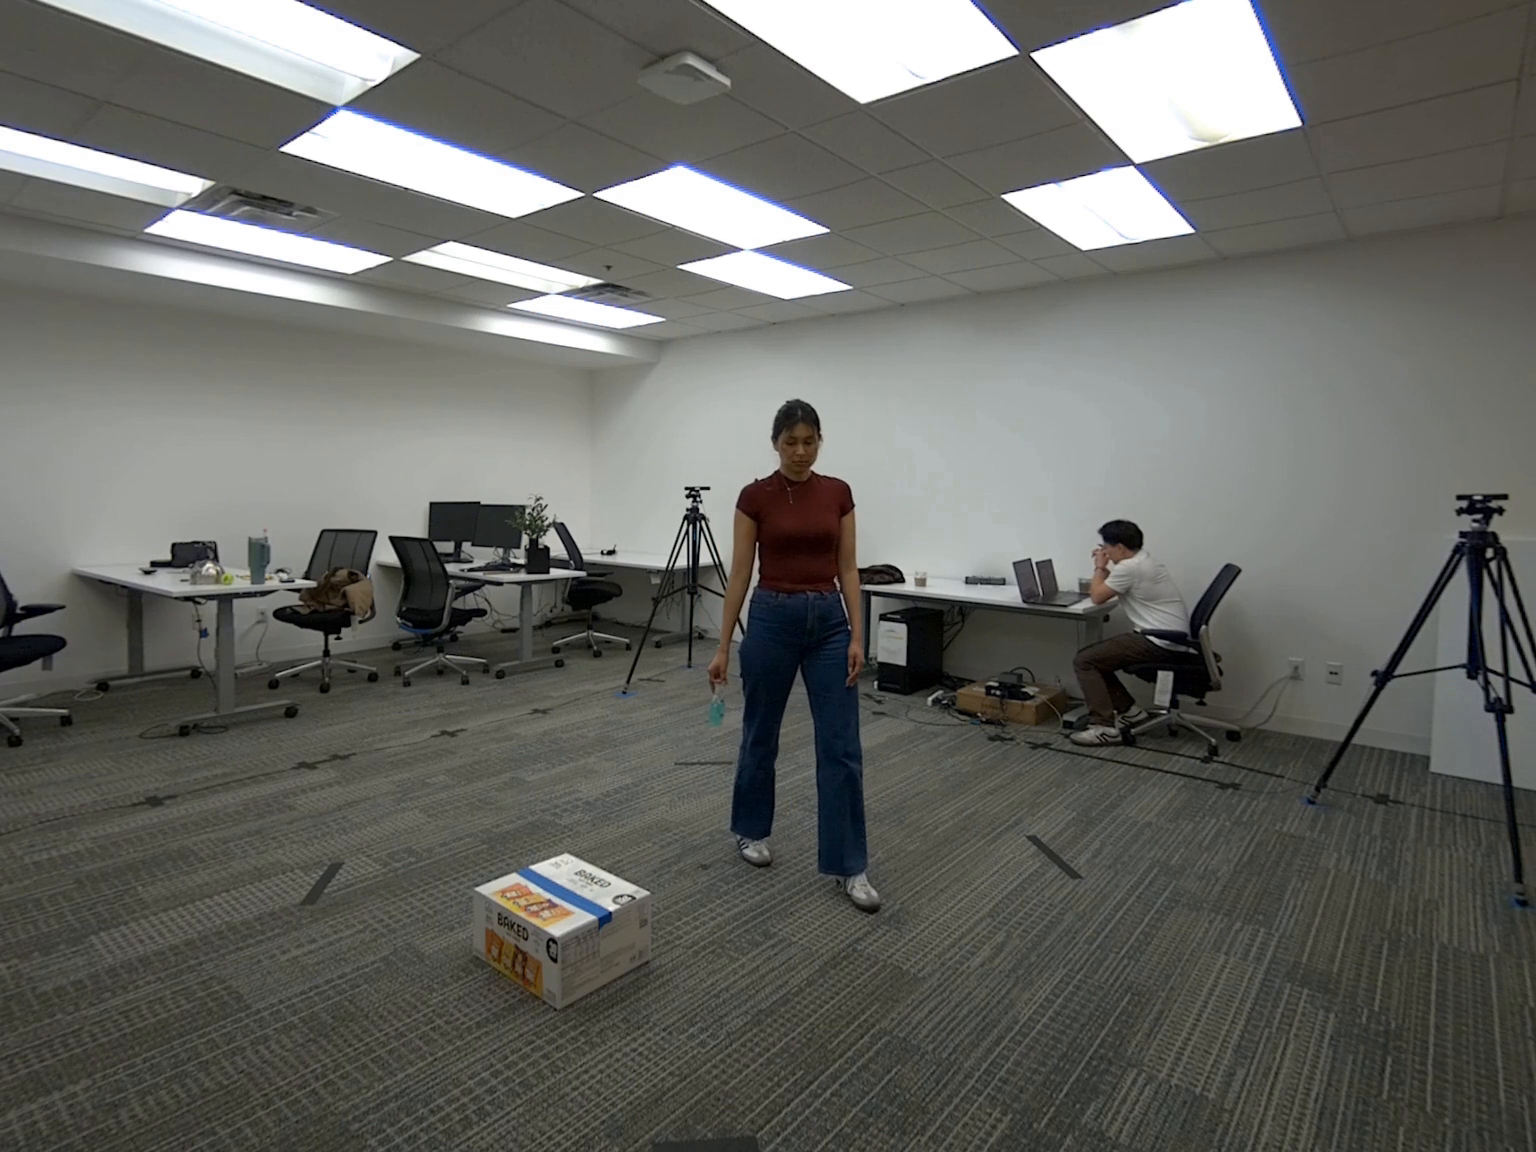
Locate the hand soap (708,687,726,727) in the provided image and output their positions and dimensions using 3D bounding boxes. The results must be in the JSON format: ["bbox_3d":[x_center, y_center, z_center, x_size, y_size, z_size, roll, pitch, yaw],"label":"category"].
[{"bbox_3d":[-0.187,0.435,3.023,0.044,0.168,0.083,0,0,20],"label":"hand soap"}]
